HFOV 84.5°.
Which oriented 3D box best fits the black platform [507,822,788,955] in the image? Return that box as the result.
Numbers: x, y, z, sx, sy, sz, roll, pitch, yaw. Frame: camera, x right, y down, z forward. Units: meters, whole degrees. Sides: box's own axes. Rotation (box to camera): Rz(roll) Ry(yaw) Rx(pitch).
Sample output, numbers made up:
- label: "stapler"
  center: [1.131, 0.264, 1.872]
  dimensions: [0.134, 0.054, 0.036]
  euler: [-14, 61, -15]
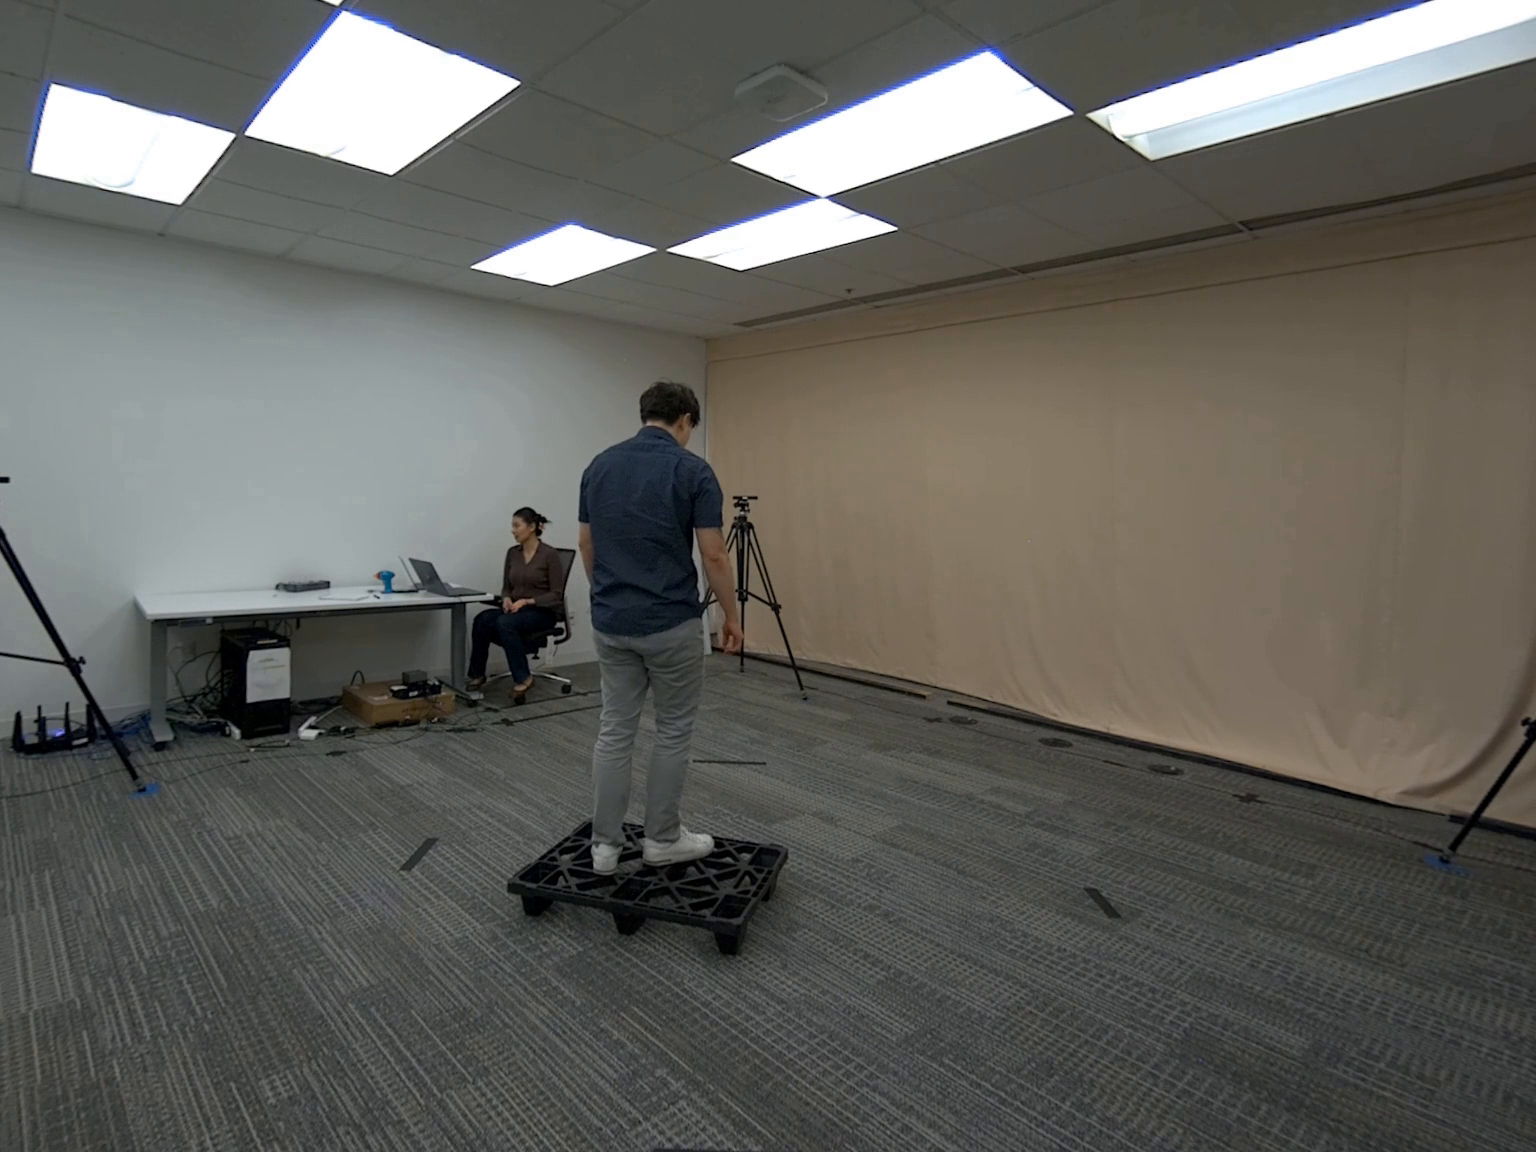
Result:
- label: "black platform"
  center: [-0.389, 1.051, 2.880]
  dimensions: [0.817, 0.143, 0.599]
  euler: [3, 6, 17]
